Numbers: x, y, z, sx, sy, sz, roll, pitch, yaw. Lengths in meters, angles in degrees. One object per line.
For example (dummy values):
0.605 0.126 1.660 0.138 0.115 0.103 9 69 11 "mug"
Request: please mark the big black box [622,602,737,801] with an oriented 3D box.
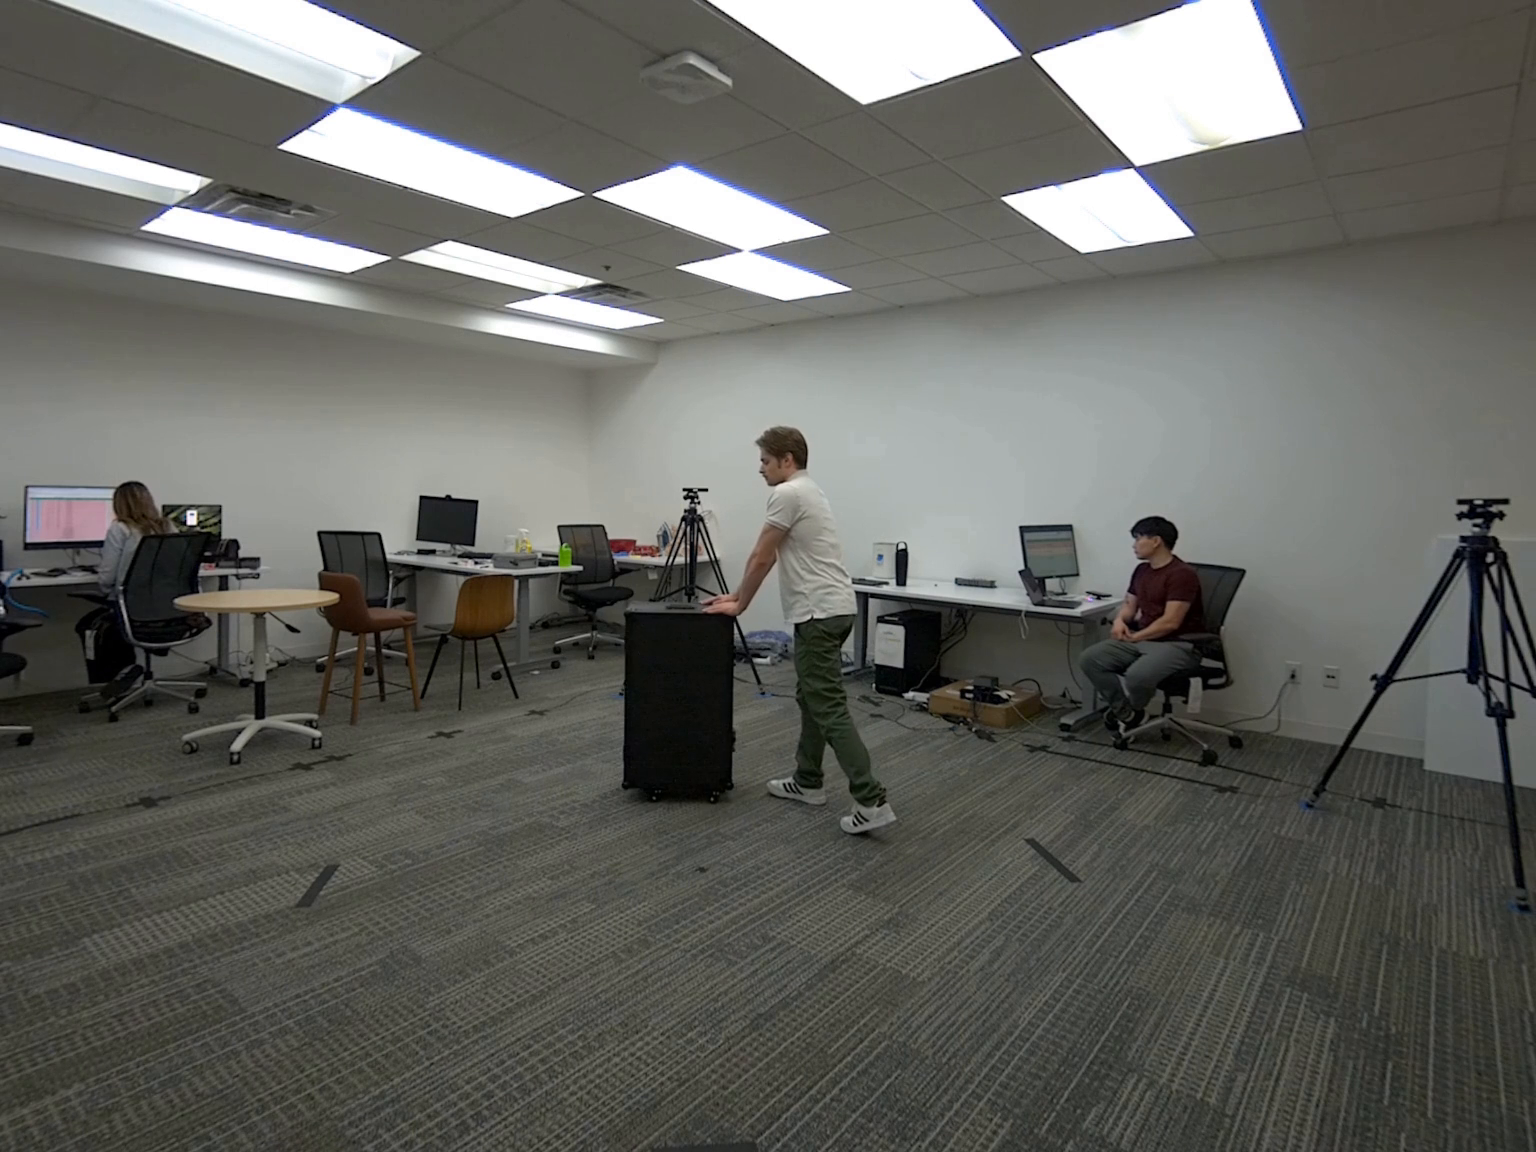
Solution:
-0.421 0.566 3.903 0.522 0.866 0.388 1 3 -4 "big black box"
